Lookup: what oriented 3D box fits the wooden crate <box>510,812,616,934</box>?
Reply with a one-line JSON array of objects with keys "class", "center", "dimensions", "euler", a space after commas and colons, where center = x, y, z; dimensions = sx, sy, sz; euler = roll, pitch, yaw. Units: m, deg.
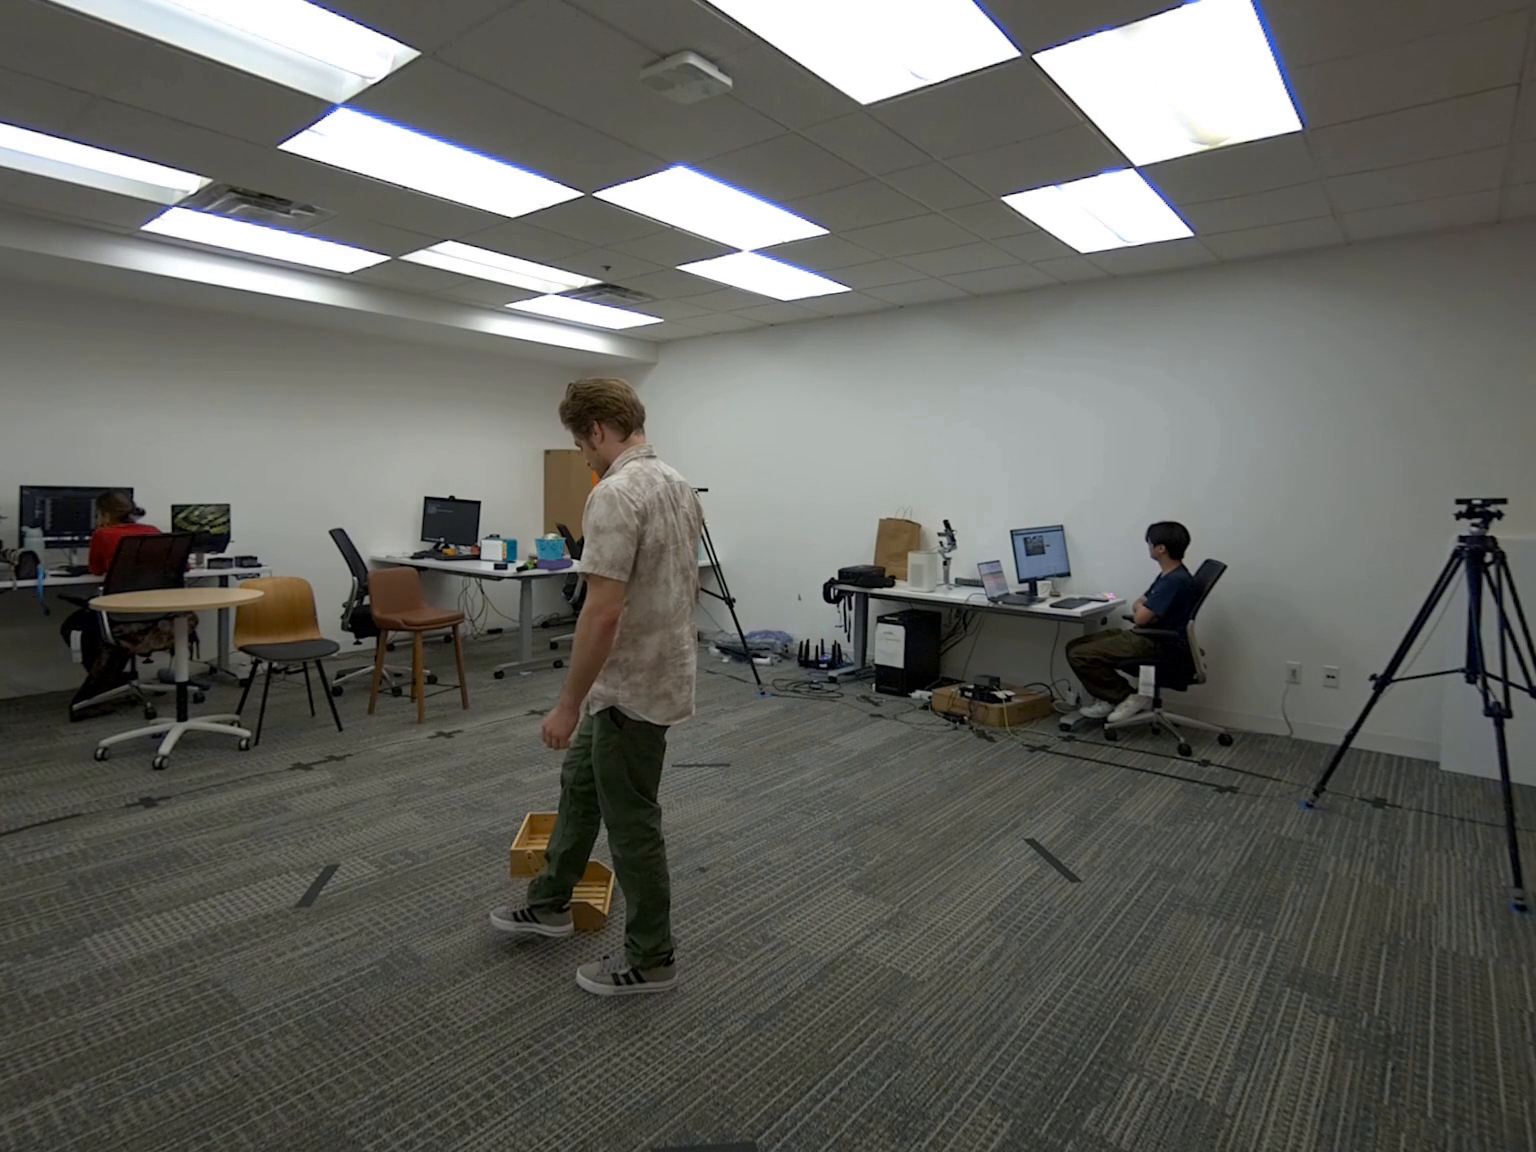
[{"class": "wooden crate", "center": [-0.672, 0.955, 2.801], "dimensions": [0.301, 0.272, 0.327], "euler": [0, 5, -4]}]
